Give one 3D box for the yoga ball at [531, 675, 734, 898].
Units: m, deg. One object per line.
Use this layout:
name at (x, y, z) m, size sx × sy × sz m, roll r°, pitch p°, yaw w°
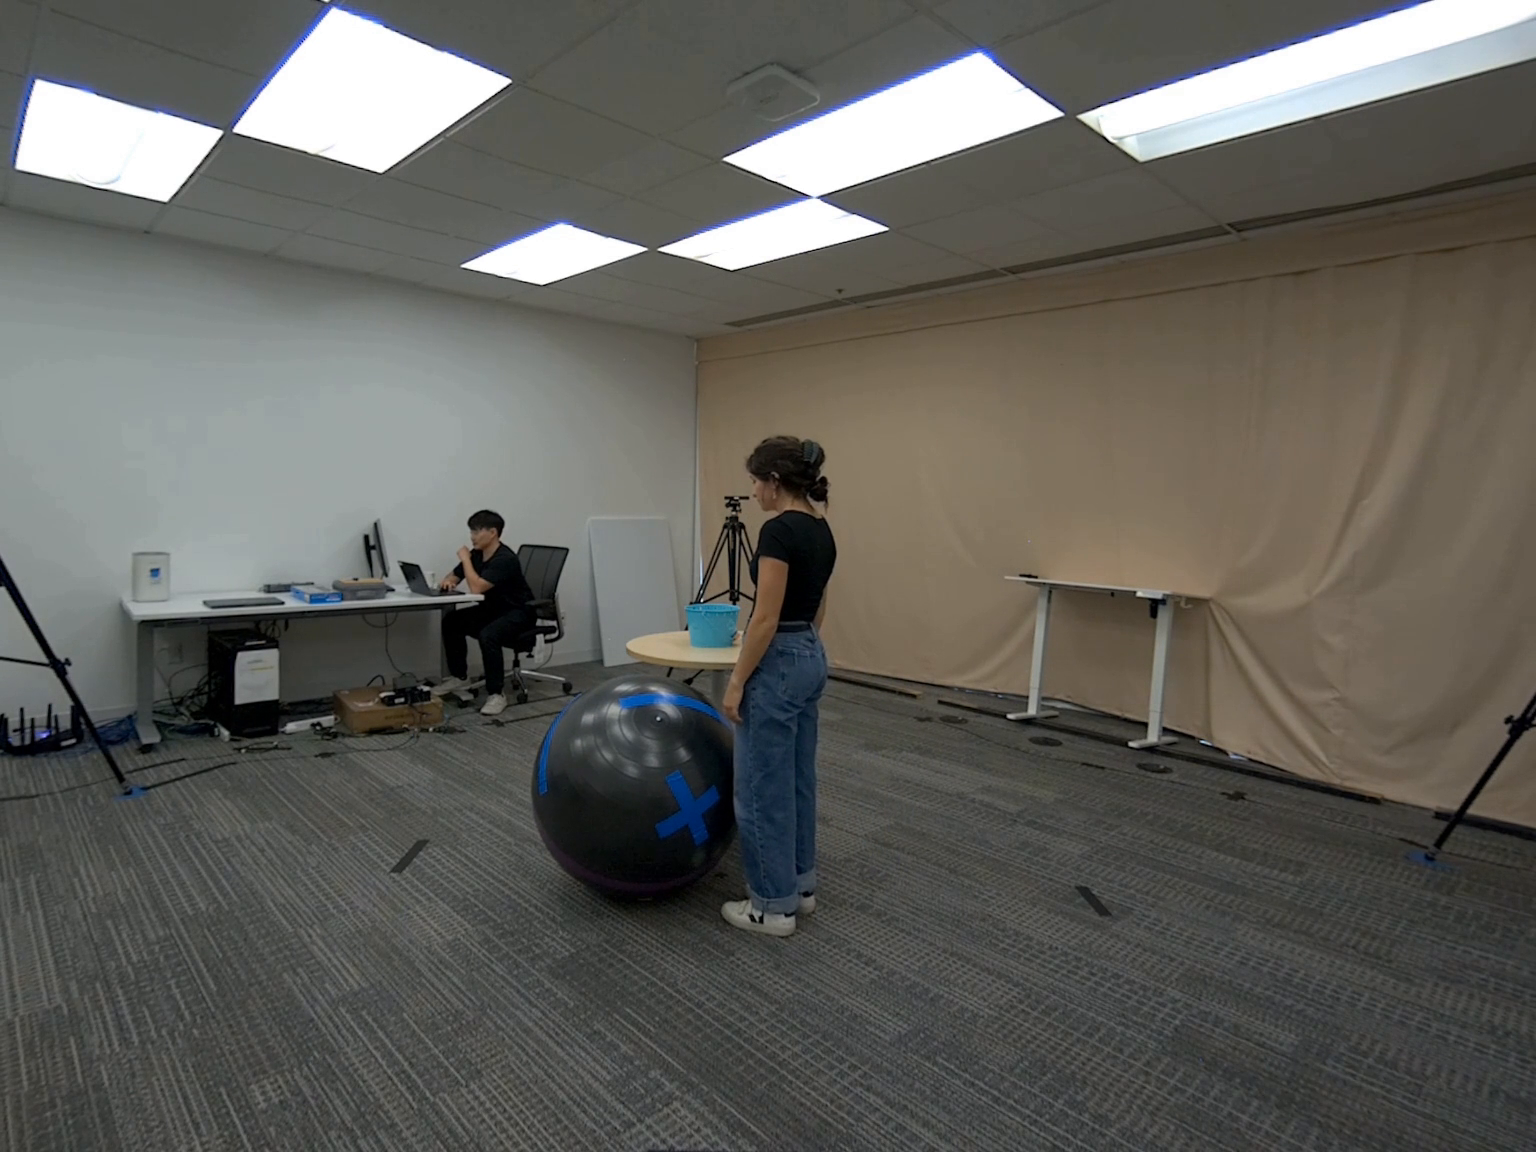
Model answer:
yoga ball at (-0.458, 0.748, 2.972) m, size 0.757 × 0.756 × 0.761 m, roll 1°, pitch 4°, yaw -1°
